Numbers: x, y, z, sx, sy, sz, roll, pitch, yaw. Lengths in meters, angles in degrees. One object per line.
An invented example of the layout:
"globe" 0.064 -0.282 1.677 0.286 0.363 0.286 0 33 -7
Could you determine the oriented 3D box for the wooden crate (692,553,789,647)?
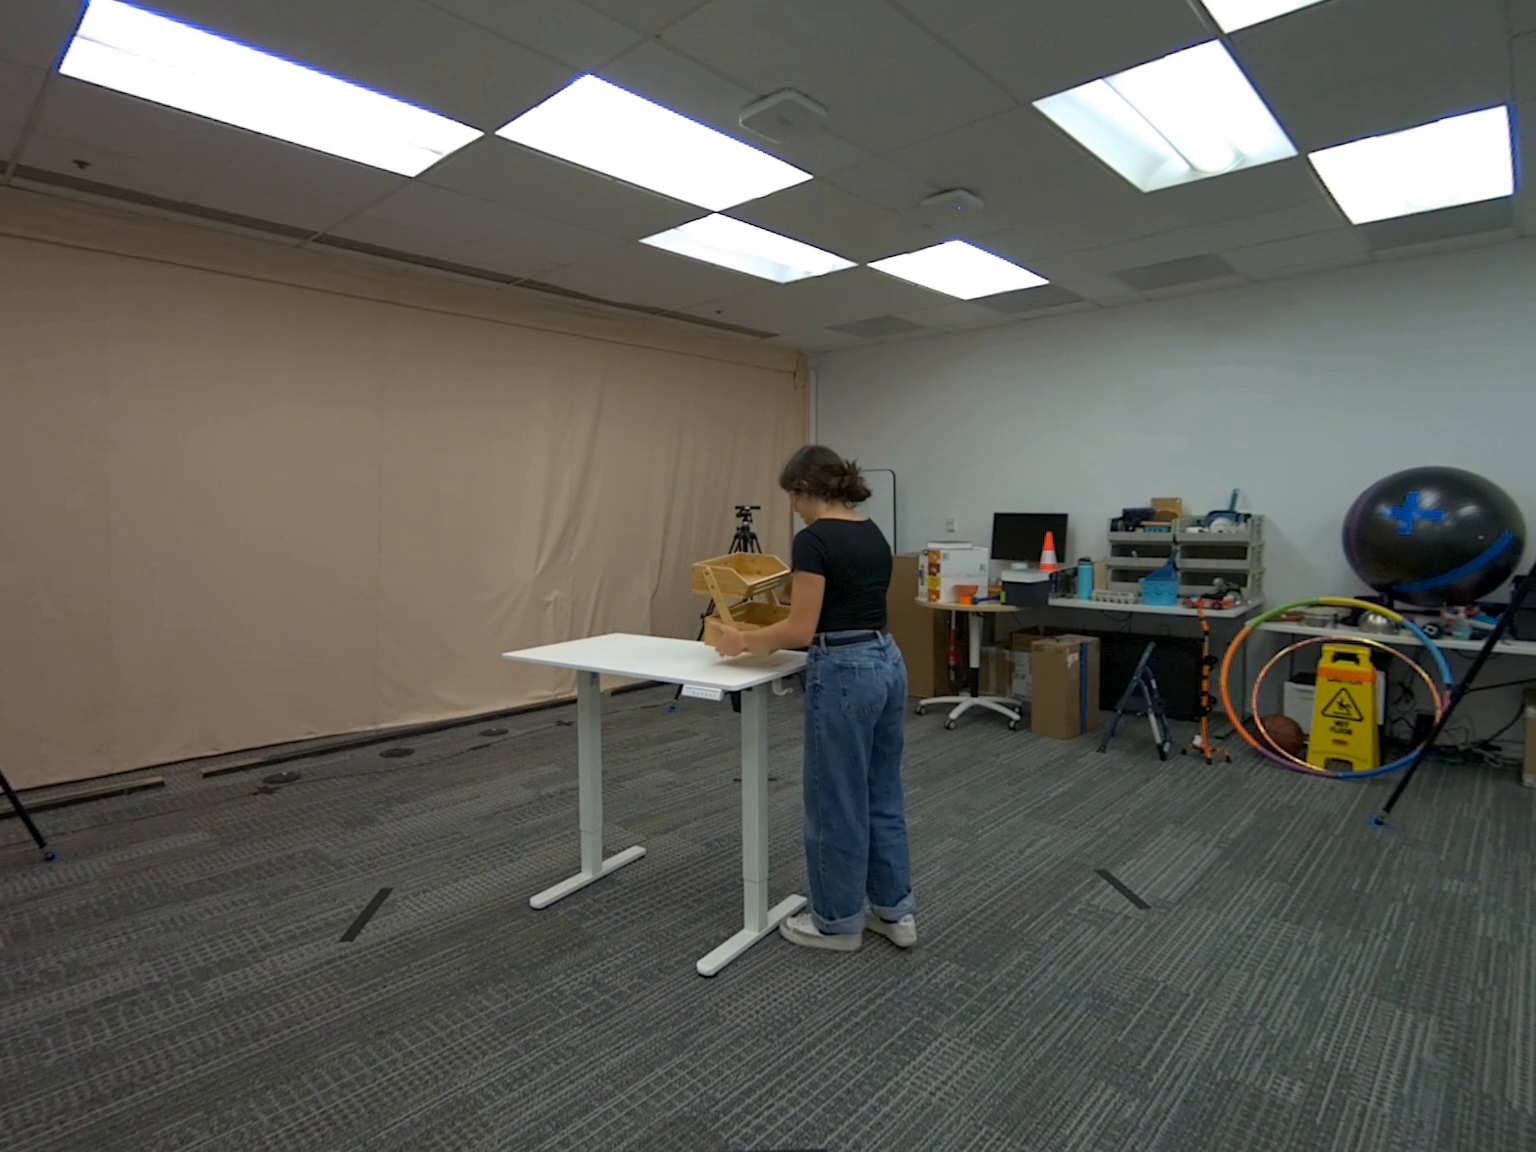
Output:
"wooden crate" -0.038 0.082 2.775 0.311 0.272 0.317 6 11 29
